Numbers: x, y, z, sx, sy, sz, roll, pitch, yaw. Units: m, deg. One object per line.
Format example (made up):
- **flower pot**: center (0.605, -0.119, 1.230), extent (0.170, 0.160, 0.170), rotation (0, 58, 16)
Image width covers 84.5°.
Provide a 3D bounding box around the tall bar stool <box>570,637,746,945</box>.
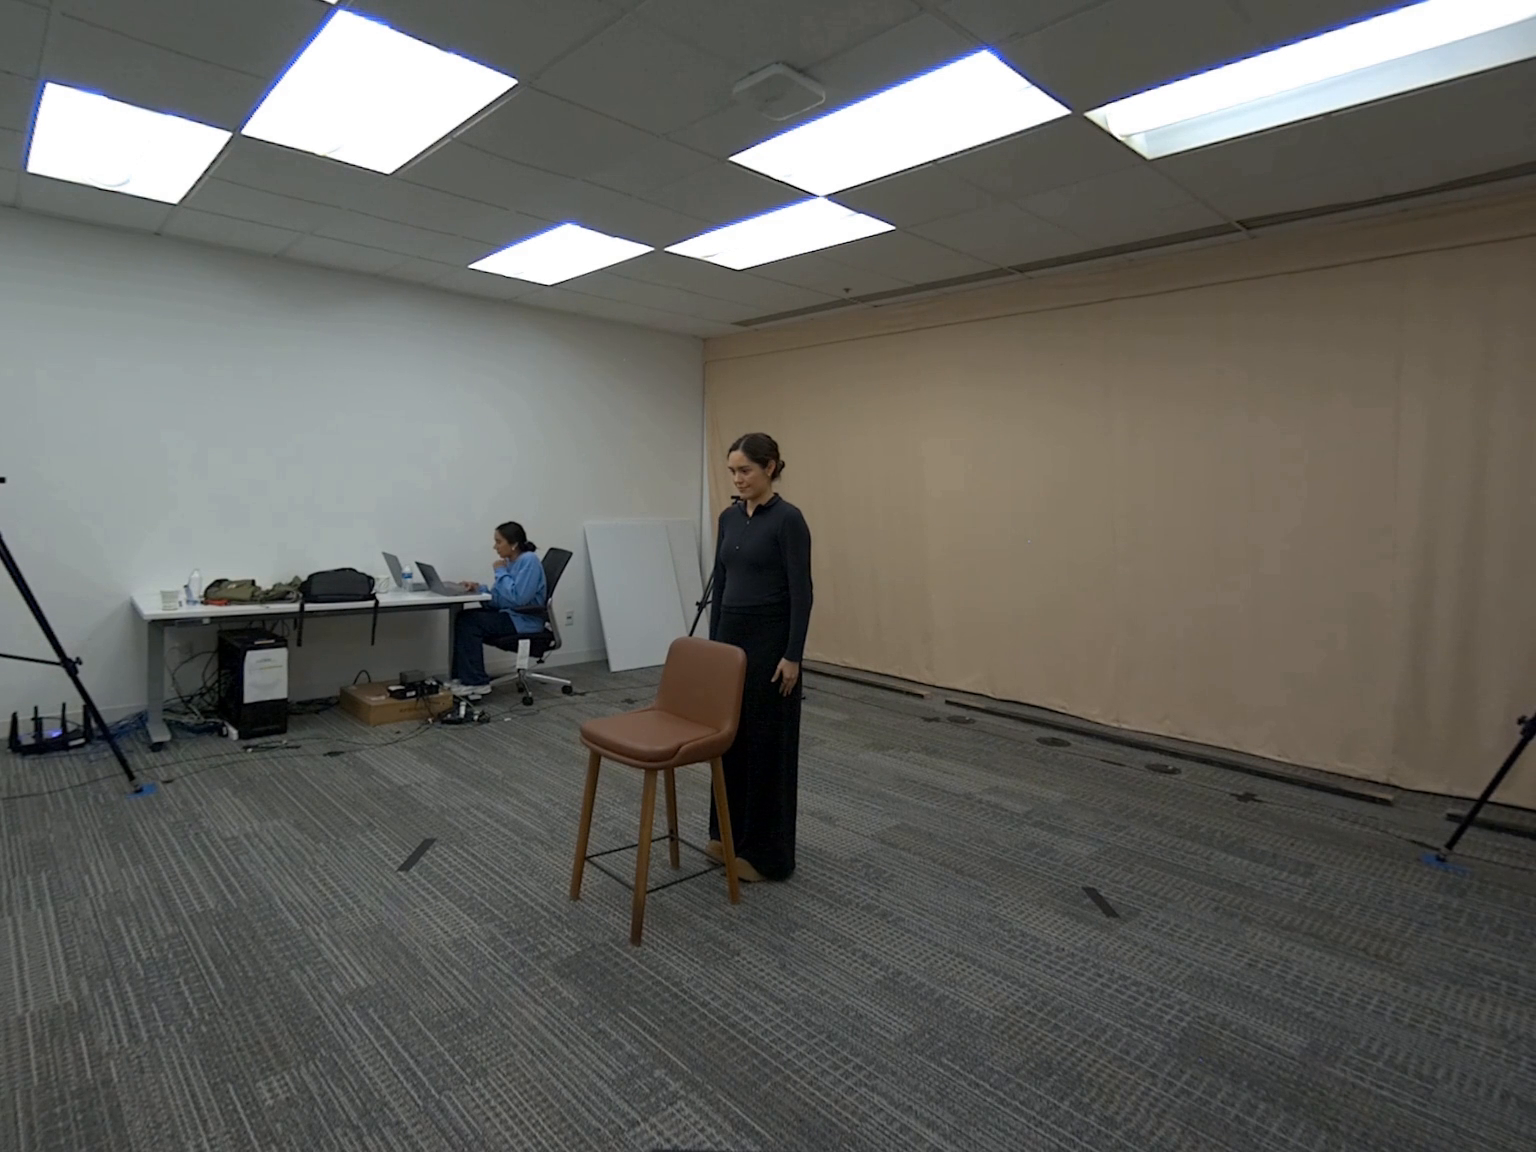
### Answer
- **tall bar stool**: center (-0.371, 0.683, 2.865), extent (0.456, 0.888, 0.468), rotation (1, 3, -41)
